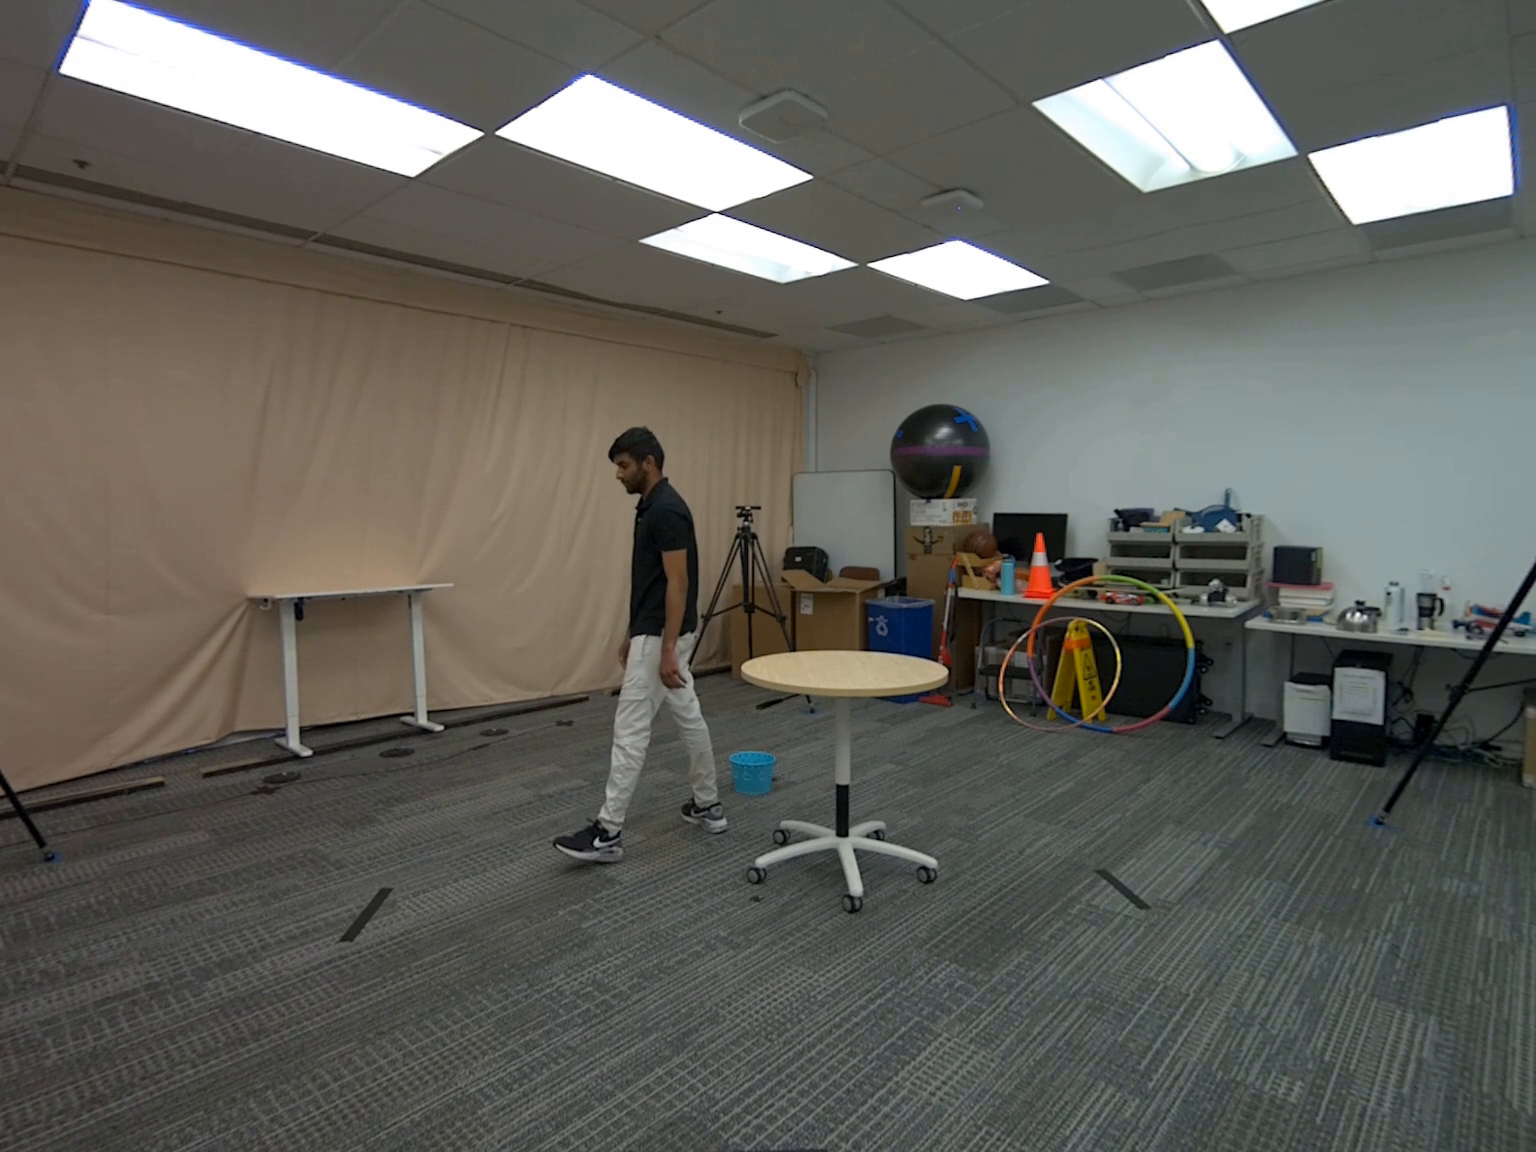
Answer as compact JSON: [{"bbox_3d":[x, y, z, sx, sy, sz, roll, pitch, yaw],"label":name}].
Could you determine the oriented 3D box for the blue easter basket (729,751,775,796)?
[{"bbox_3d":[-0.073,0.971,4.170,0.243,0.155,0.244,0,4,-2],"label":"blue easter basket"}]
